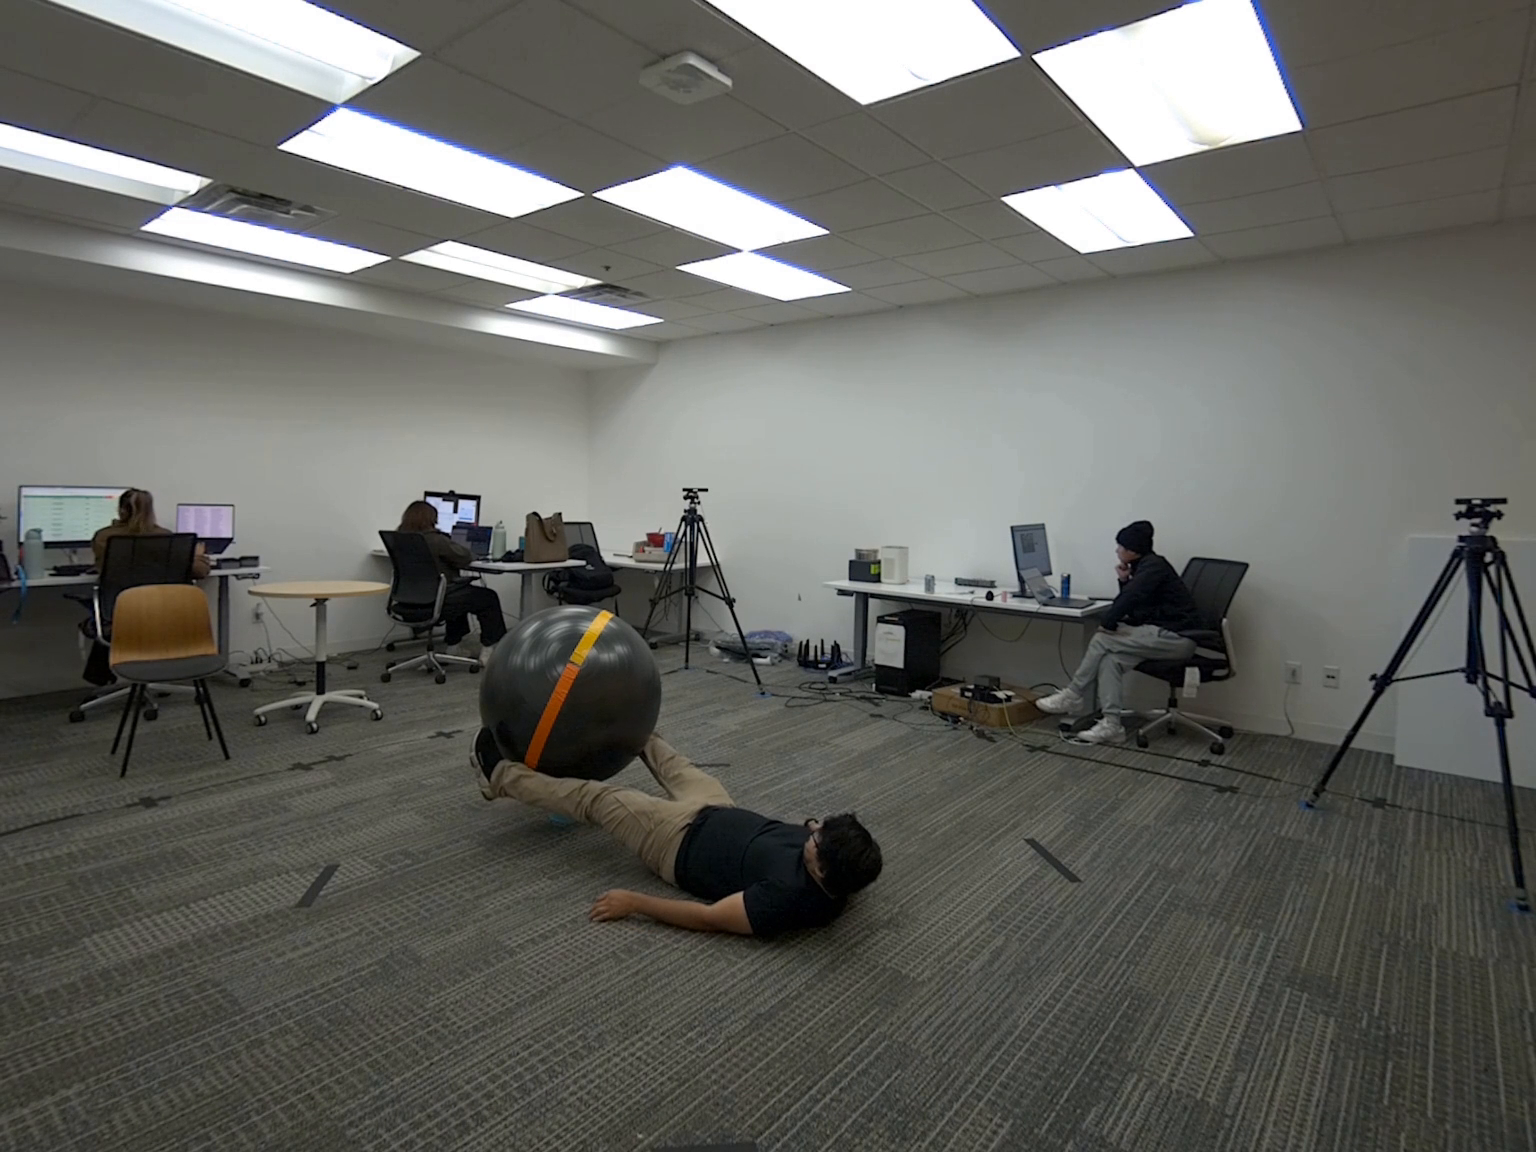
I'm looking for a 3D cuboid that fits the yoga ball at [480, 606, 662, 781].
[{"bbox_3d":[-0.847,0.503,3.594,0.757,0.755,0.762,1,4,-2],"label":"yoga ball"}]
